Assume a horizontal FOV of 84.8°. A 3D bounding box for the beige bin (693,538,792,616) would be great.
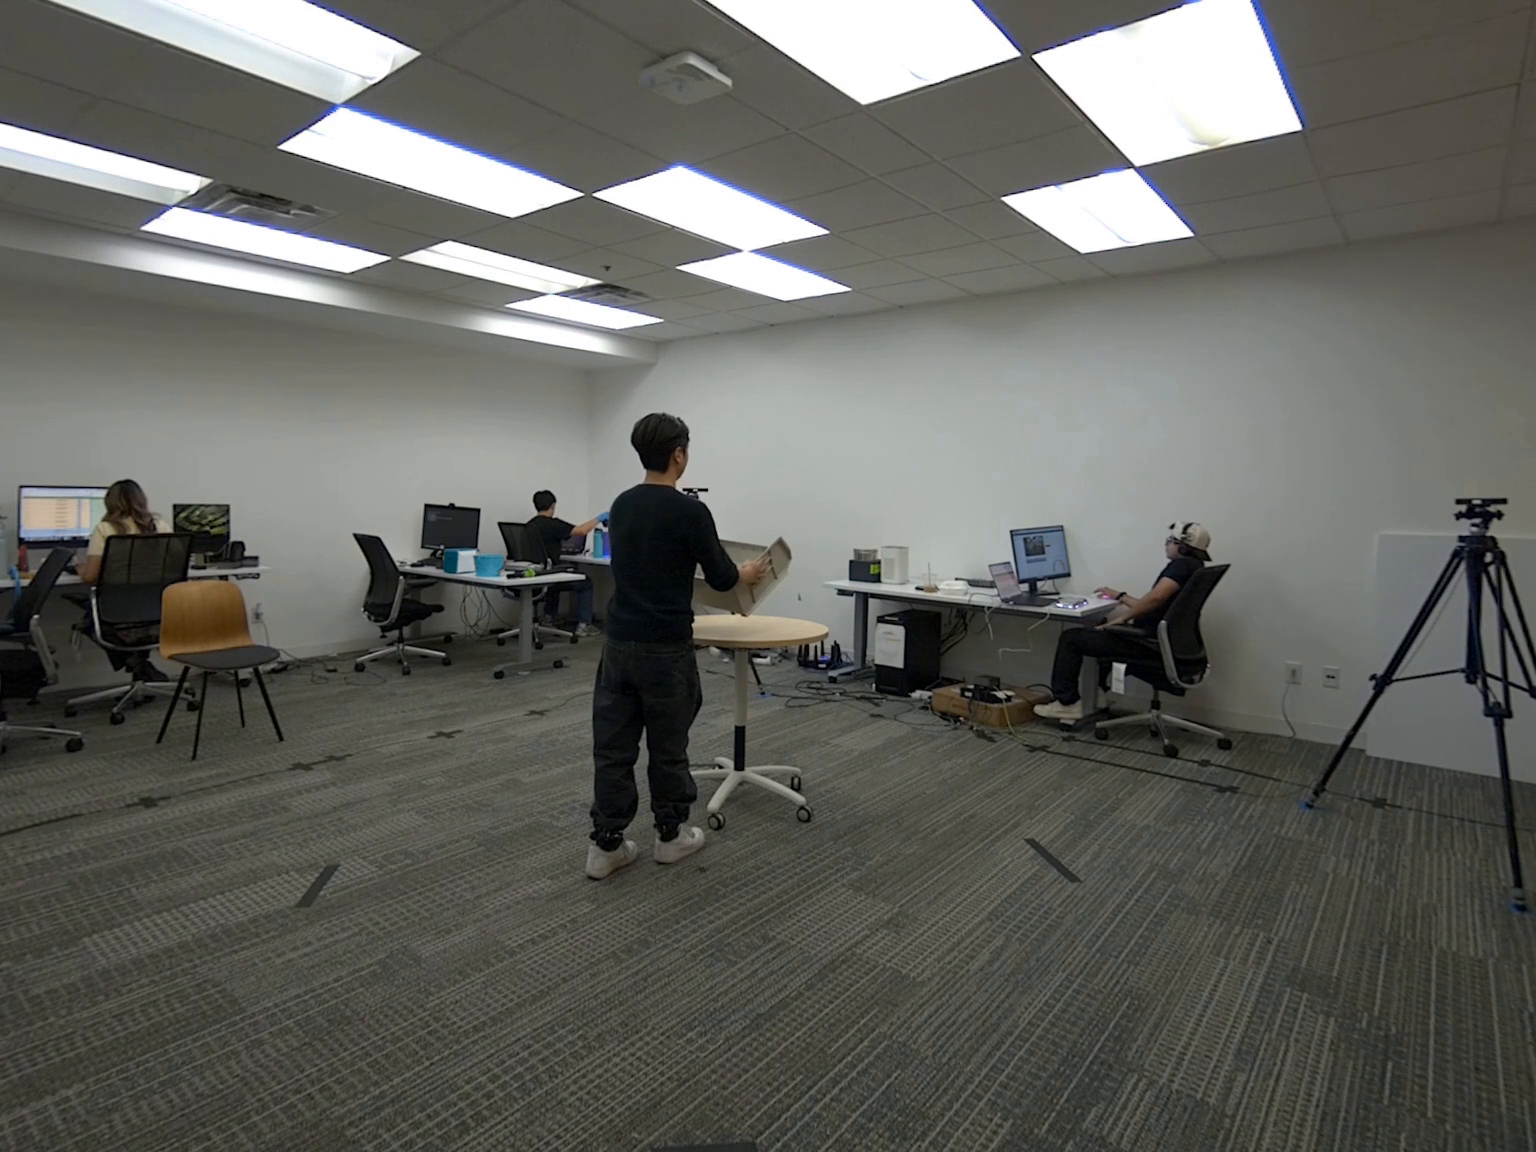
[{"bbox_3d":[-0.183,-0.035,3.641,0.437,0.183,0.376,10,42,39],"label":"beige bin"}]
